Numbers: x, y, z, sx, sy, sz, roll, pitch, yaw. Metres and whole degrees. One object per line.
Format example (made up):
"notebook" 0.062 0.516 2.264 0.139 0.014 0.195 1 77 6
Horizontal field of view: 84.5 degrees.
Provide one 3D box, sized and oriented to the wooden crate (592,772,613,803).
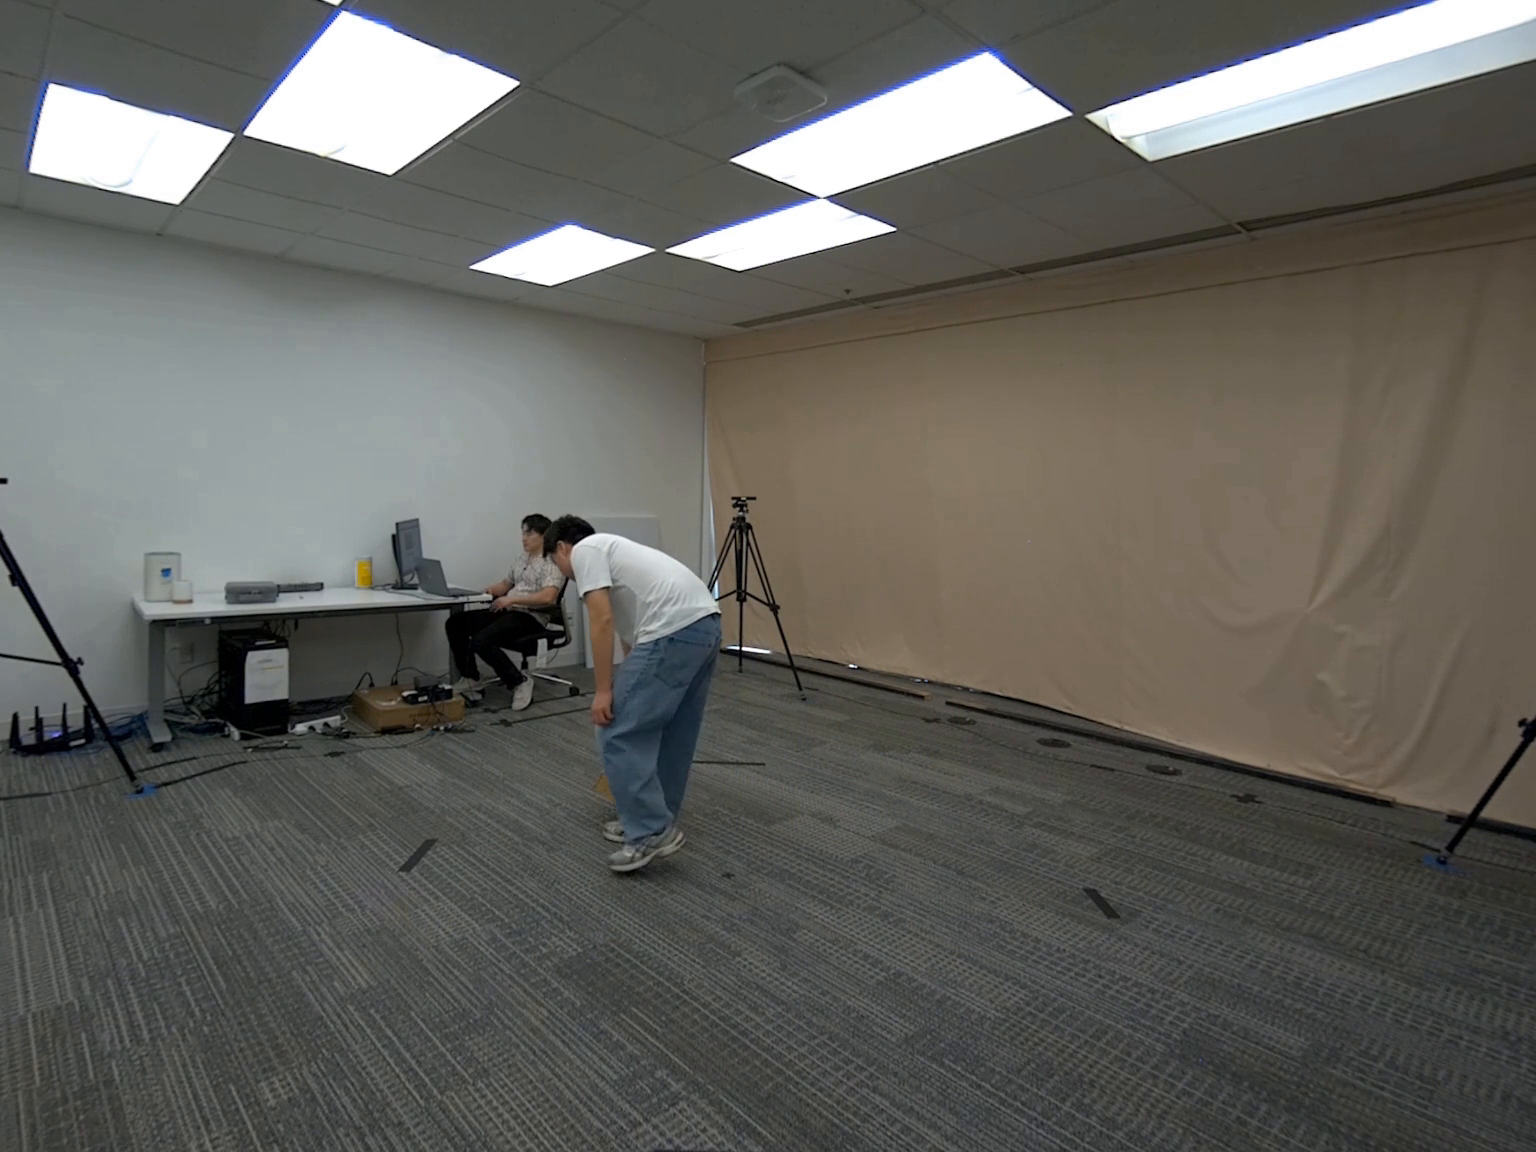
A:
"wooden crate" -0.544 0.865 3.633 0.327 0.273 0.300 31 8 6
